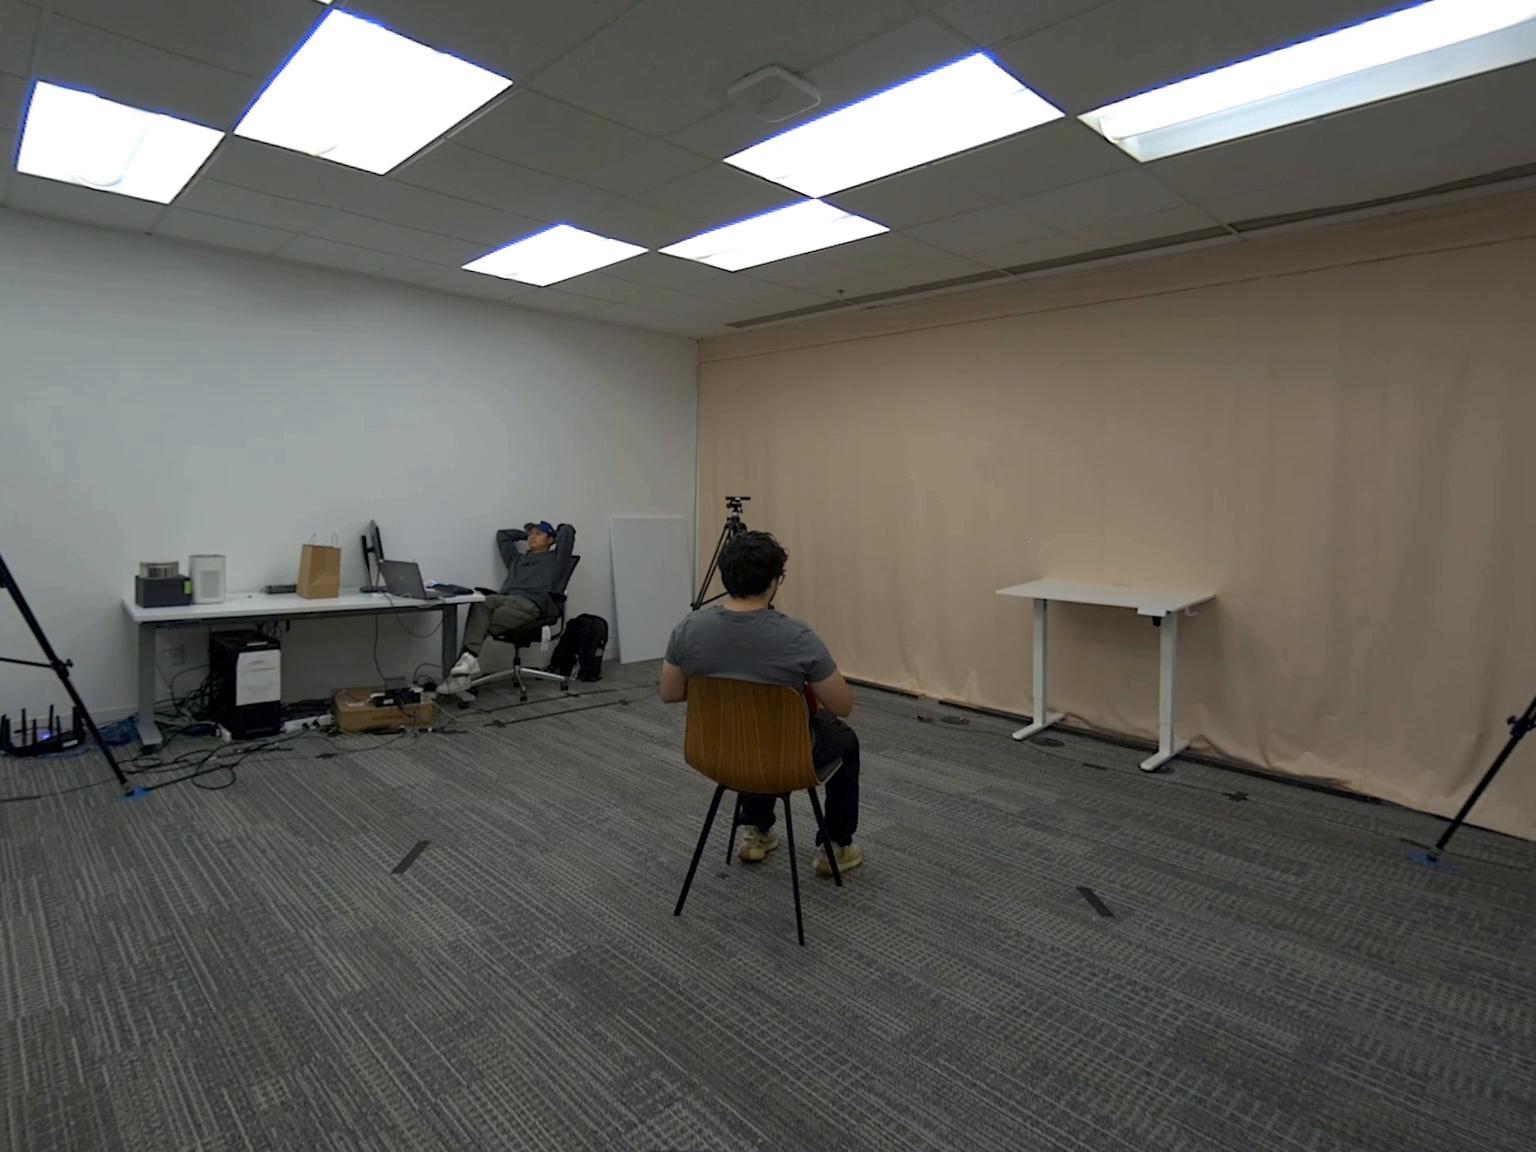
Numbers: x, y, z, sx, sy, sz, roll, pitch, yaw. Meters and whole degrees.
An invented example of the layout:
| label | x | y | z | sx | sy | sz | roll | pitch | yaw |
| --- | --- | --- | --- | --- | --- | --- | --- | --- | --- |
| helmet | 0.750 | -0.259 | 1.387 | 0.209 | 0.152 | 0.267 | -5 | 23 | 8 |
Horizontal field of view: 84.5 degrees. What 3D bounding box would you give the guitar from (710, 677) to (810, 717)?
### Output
| label | x | y | z | sx | sy | sz | roll | pitch | yaw |
| --- | --- | --- | --- | --- | --- | --- | --- | --- | --- |
| guitar | -0.016 | 0.358 | 2.995 | 0.511 | 0.187 | 0.071 | 12 | 49 | 37 |
